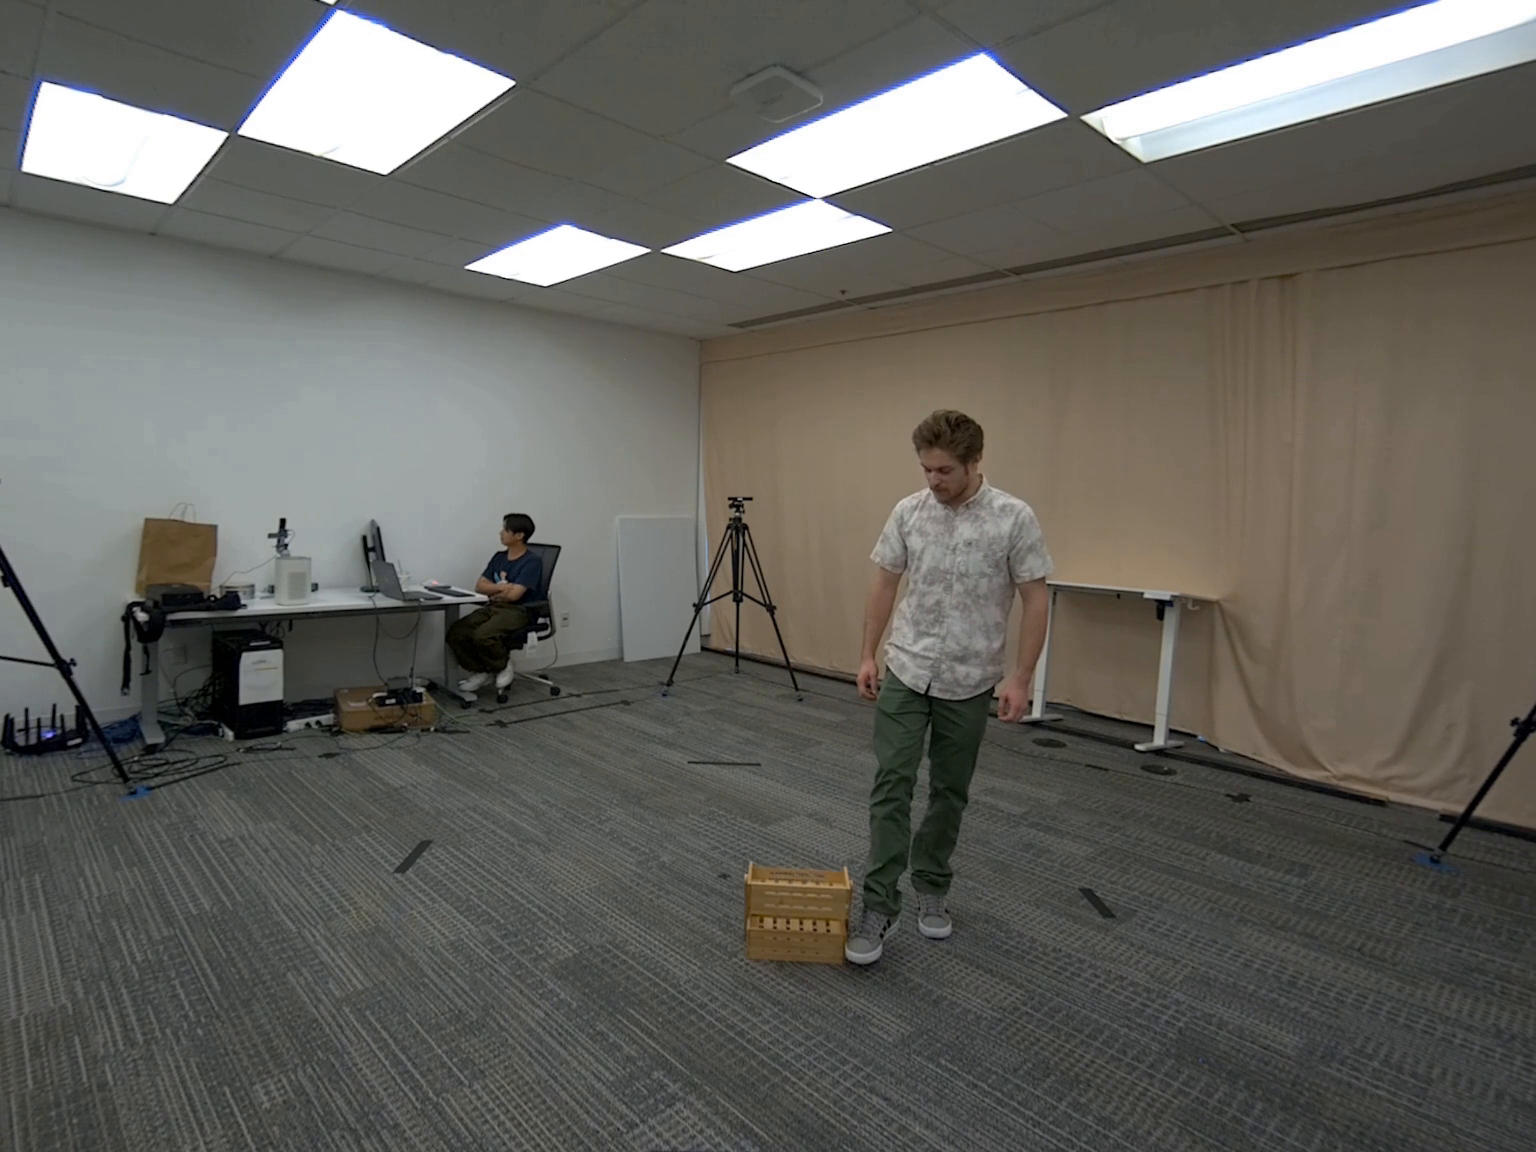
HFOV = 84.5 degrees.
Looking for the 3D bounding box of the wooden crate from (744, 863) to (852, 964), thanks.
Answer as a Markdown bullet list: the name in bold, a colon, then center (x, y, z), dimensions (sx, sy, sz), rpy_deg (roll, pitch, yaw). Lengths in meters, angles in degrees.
- **wooden crate**: center (0.083, 1.020, 2.636), dimensions (0.325, 0.272, 0.302), rpy_deg (2, 4, 1)
